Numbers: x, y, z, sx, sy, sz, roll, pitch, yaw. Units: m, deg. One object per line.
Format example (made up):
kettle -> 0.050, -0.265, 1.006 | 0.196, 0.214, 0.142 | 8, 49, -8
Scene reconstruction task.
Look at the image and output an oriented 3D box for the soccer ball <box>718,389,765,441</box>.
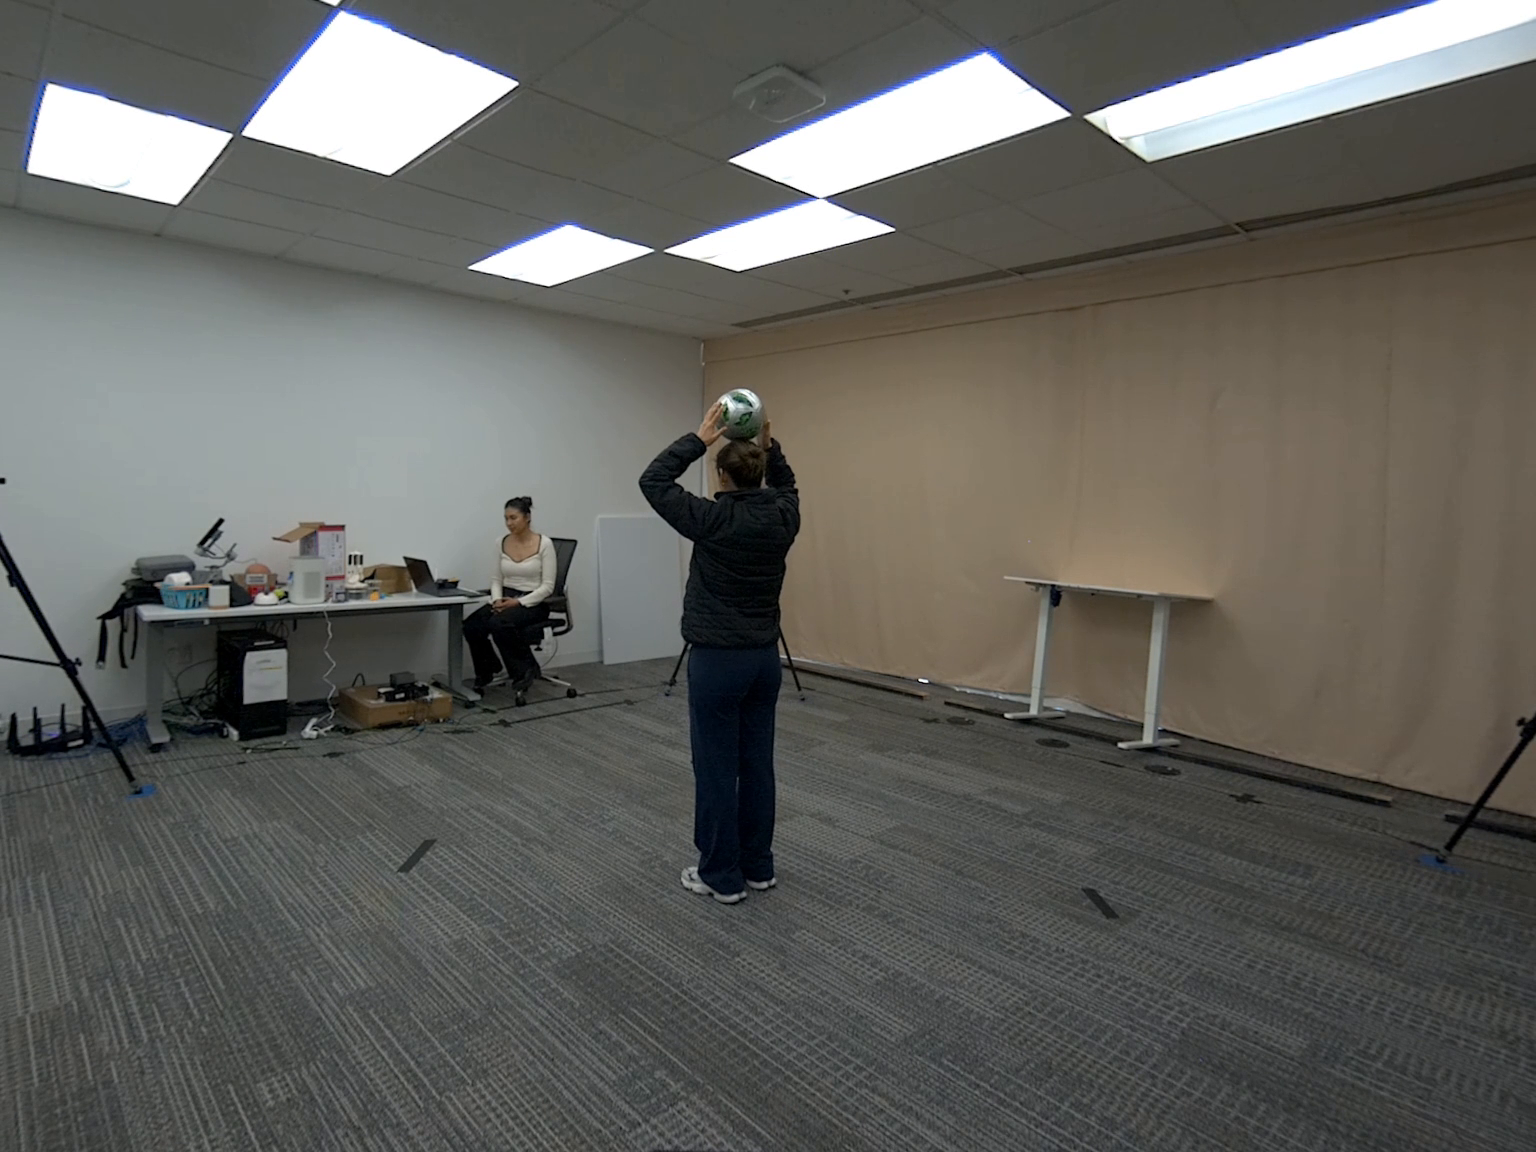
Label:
soccer ball -> -0.107, -0.567, 2.991 | 0.187, 0.187, 0.188 | 1, 4, -1
